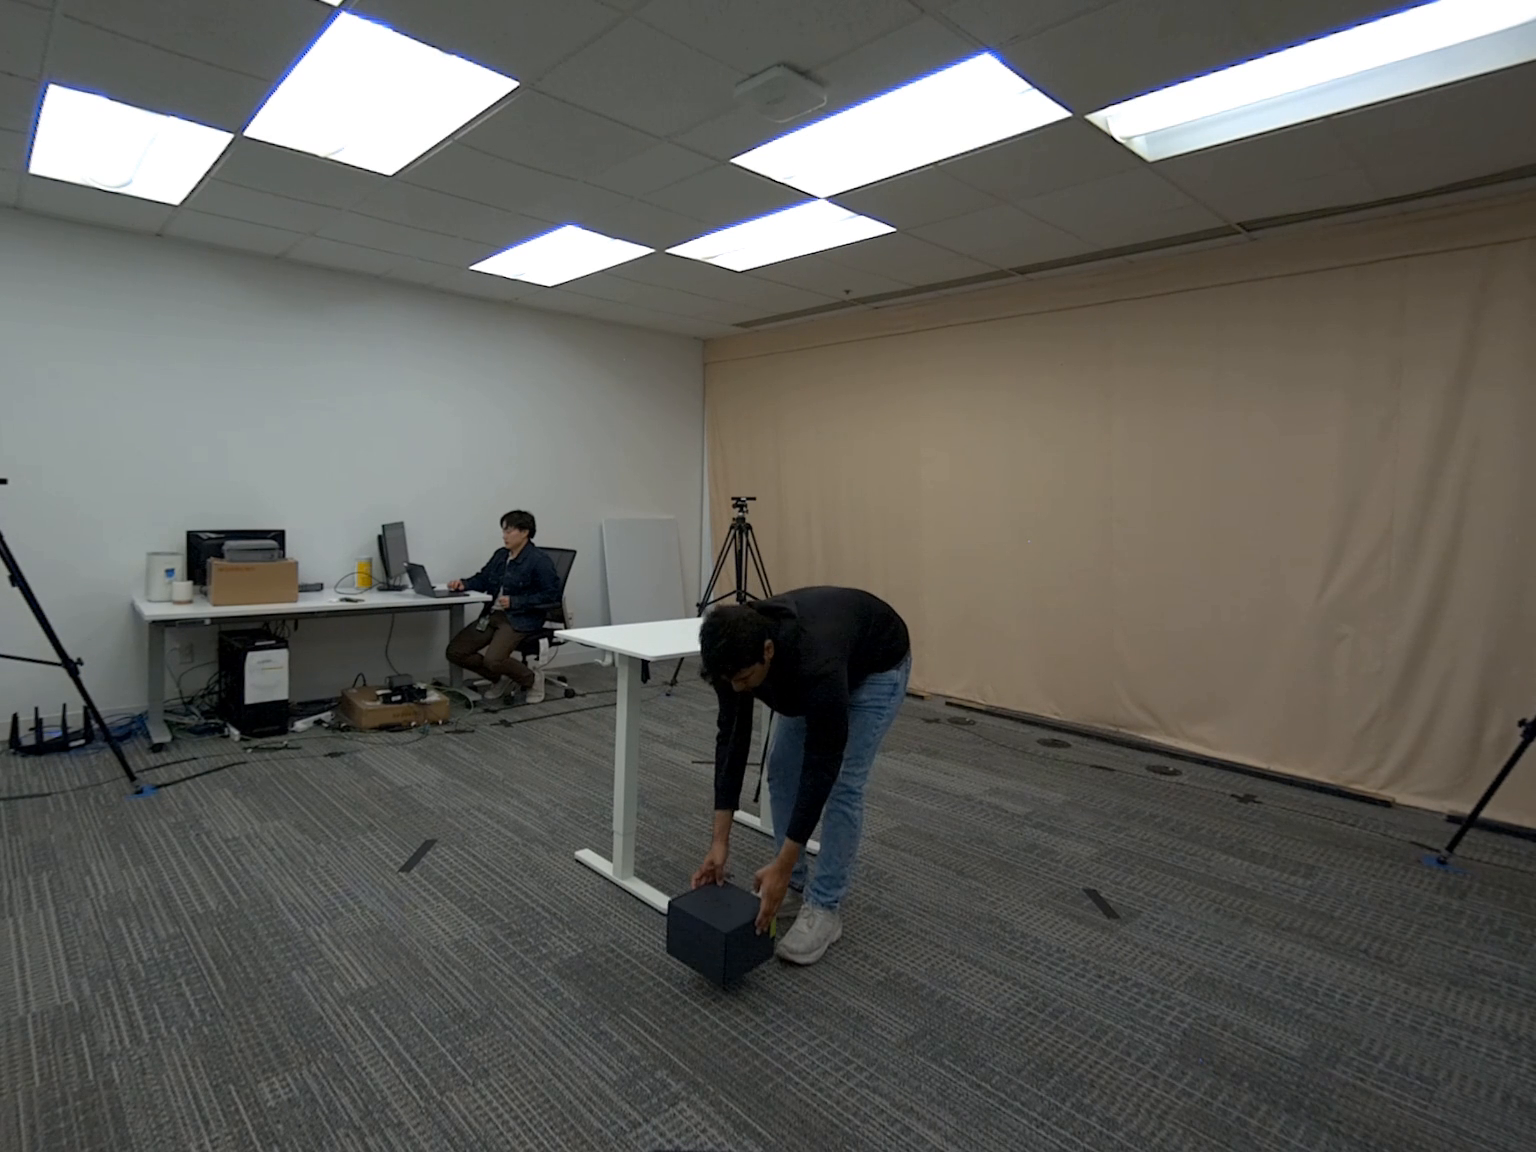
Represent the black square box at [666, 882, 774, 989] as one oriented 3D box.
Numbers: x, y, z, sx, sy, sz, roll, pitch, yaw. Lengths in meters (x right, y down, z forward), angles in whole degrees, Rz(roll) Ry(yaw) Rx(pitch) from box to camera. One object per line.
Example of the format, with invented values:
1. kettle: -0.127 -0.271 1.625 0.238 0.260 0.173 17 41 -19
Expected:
1. black square box: -0.137 0.990 2.391 0.234 0.155 0.212 8 8 41
